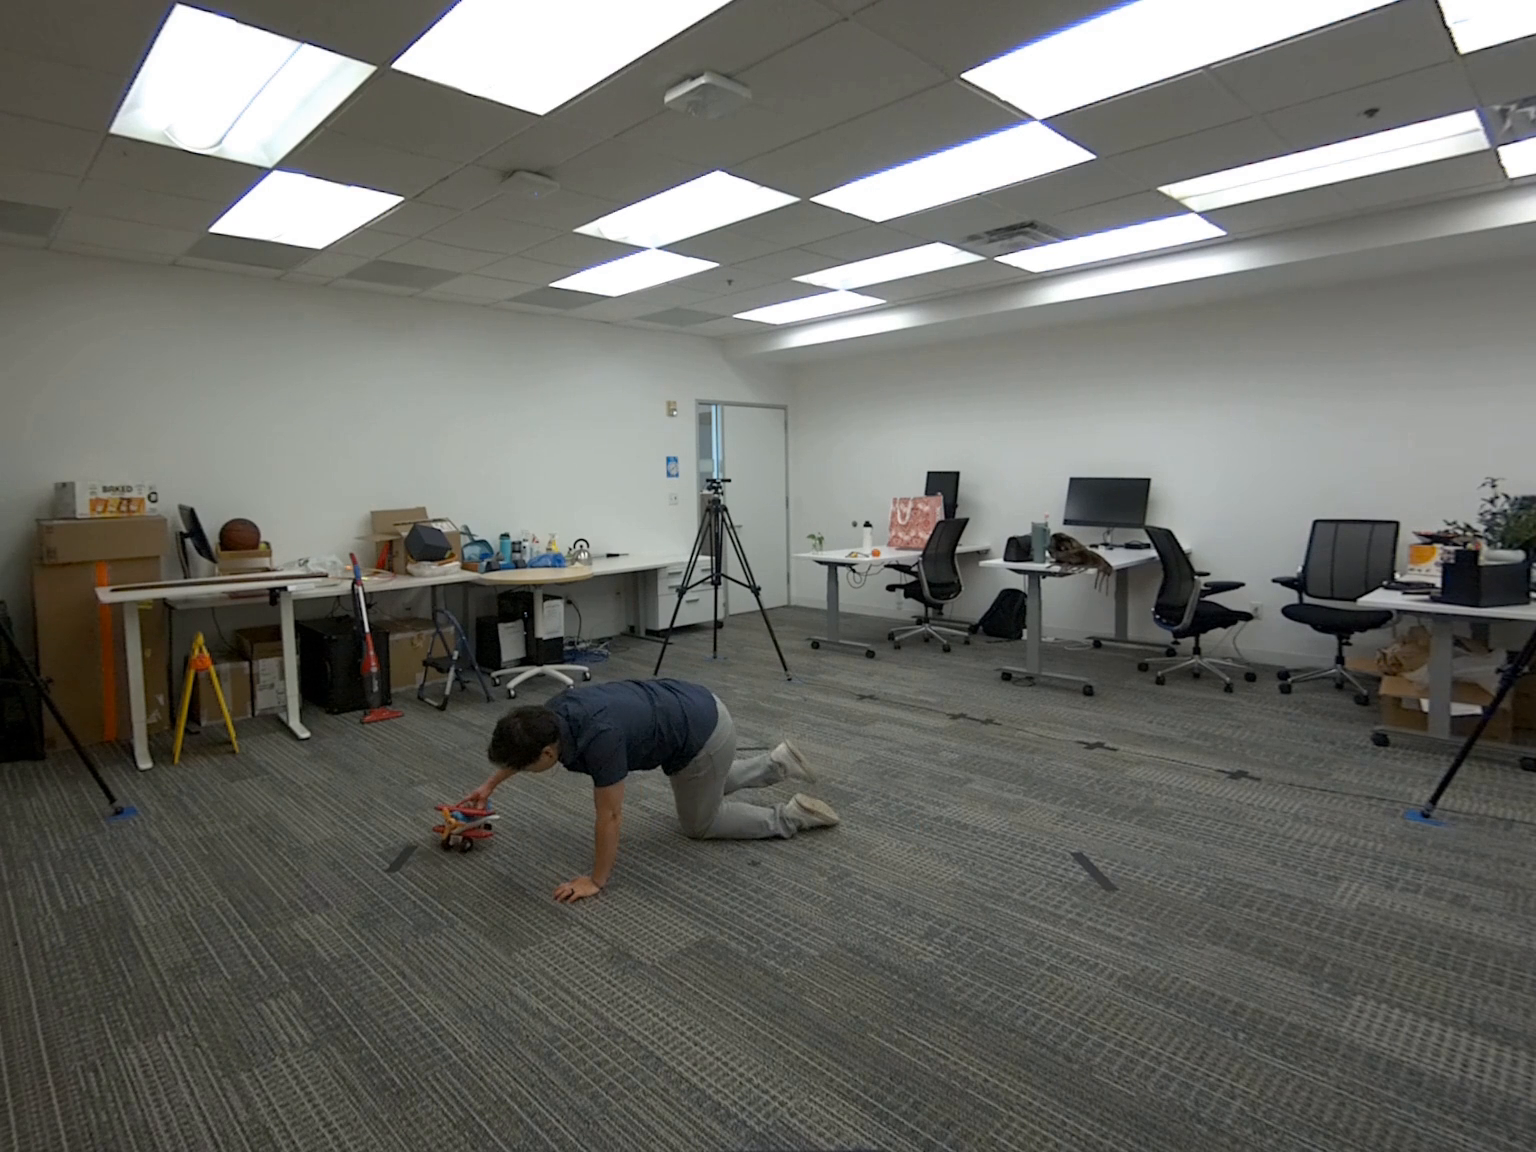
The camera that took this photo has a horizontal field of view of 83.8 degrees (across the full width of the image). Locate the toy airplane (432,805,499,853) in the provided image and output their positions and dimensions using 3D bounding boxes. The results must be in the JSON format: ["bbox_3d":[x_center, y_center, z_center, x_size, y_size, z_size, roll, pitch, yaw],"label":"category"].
[{"bbox_3d":[-1.183,0.968,3.357,0.249,0.155,0.263,-3,7,-11],"label":"toy airplane"}]
